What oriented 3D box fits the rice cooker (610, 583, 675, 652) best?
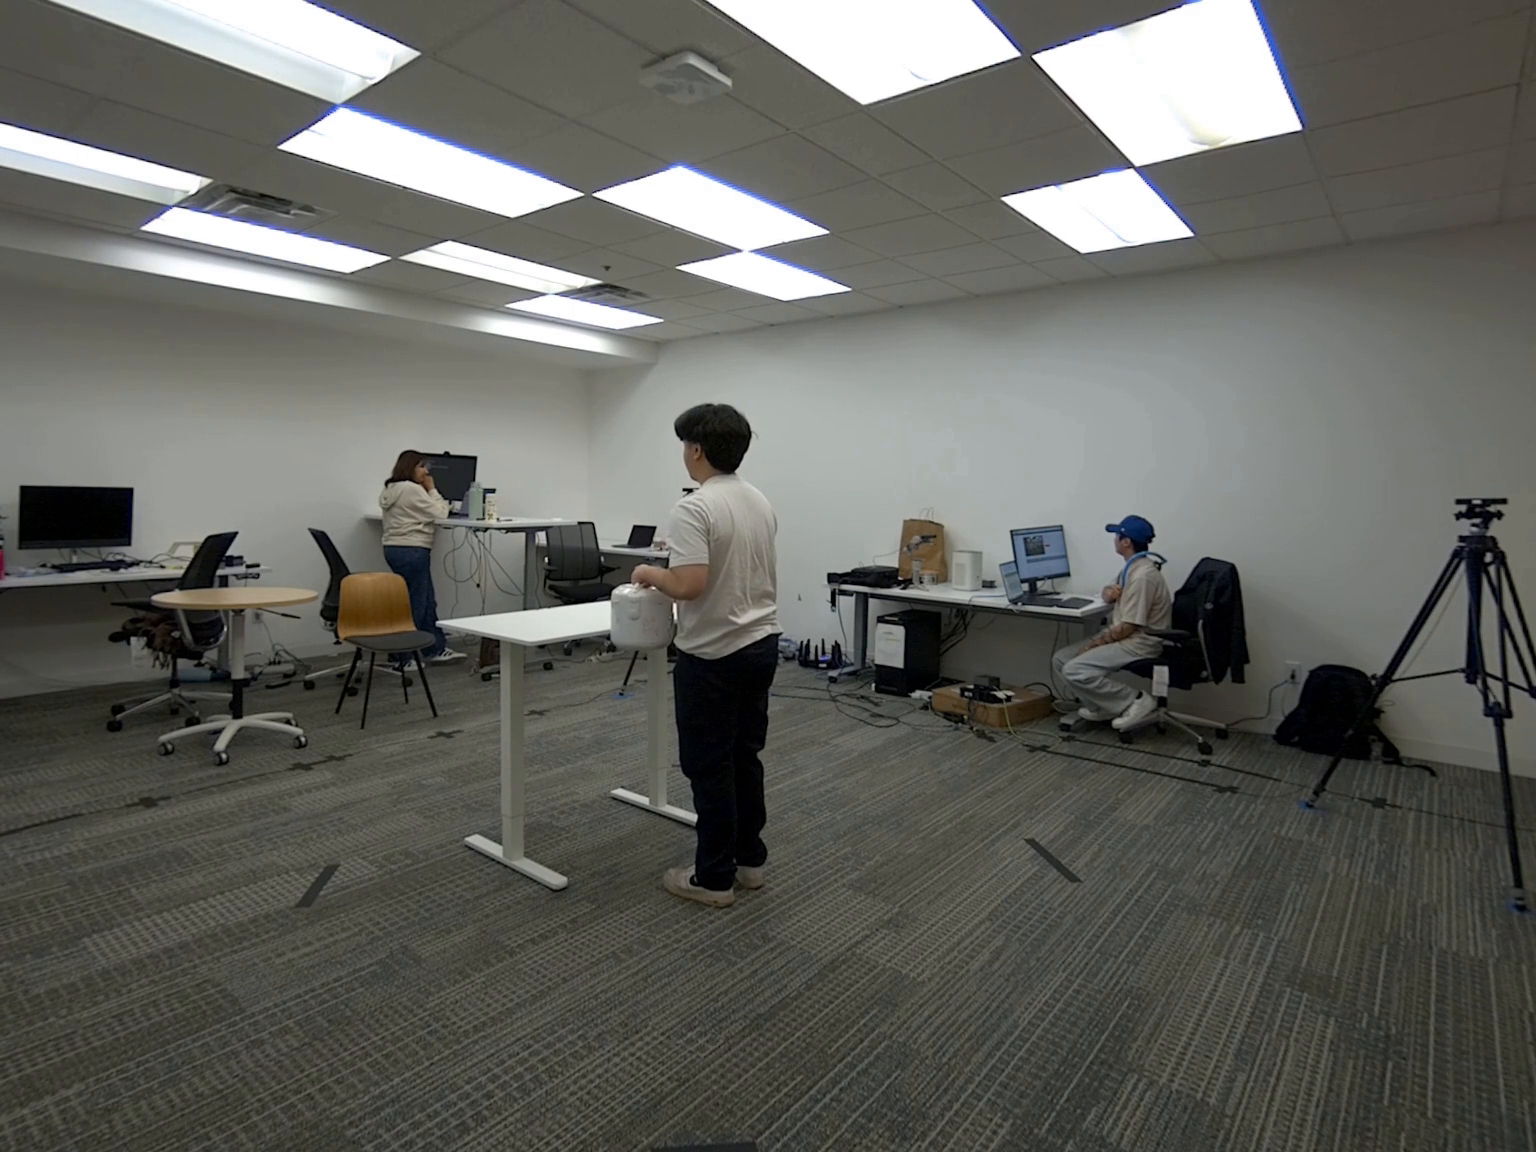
[{"bbox_3d":[-0.437,0.124,2.908,0.220,0.232,0.219,1,4,10],"label":"rice cooker"}]
